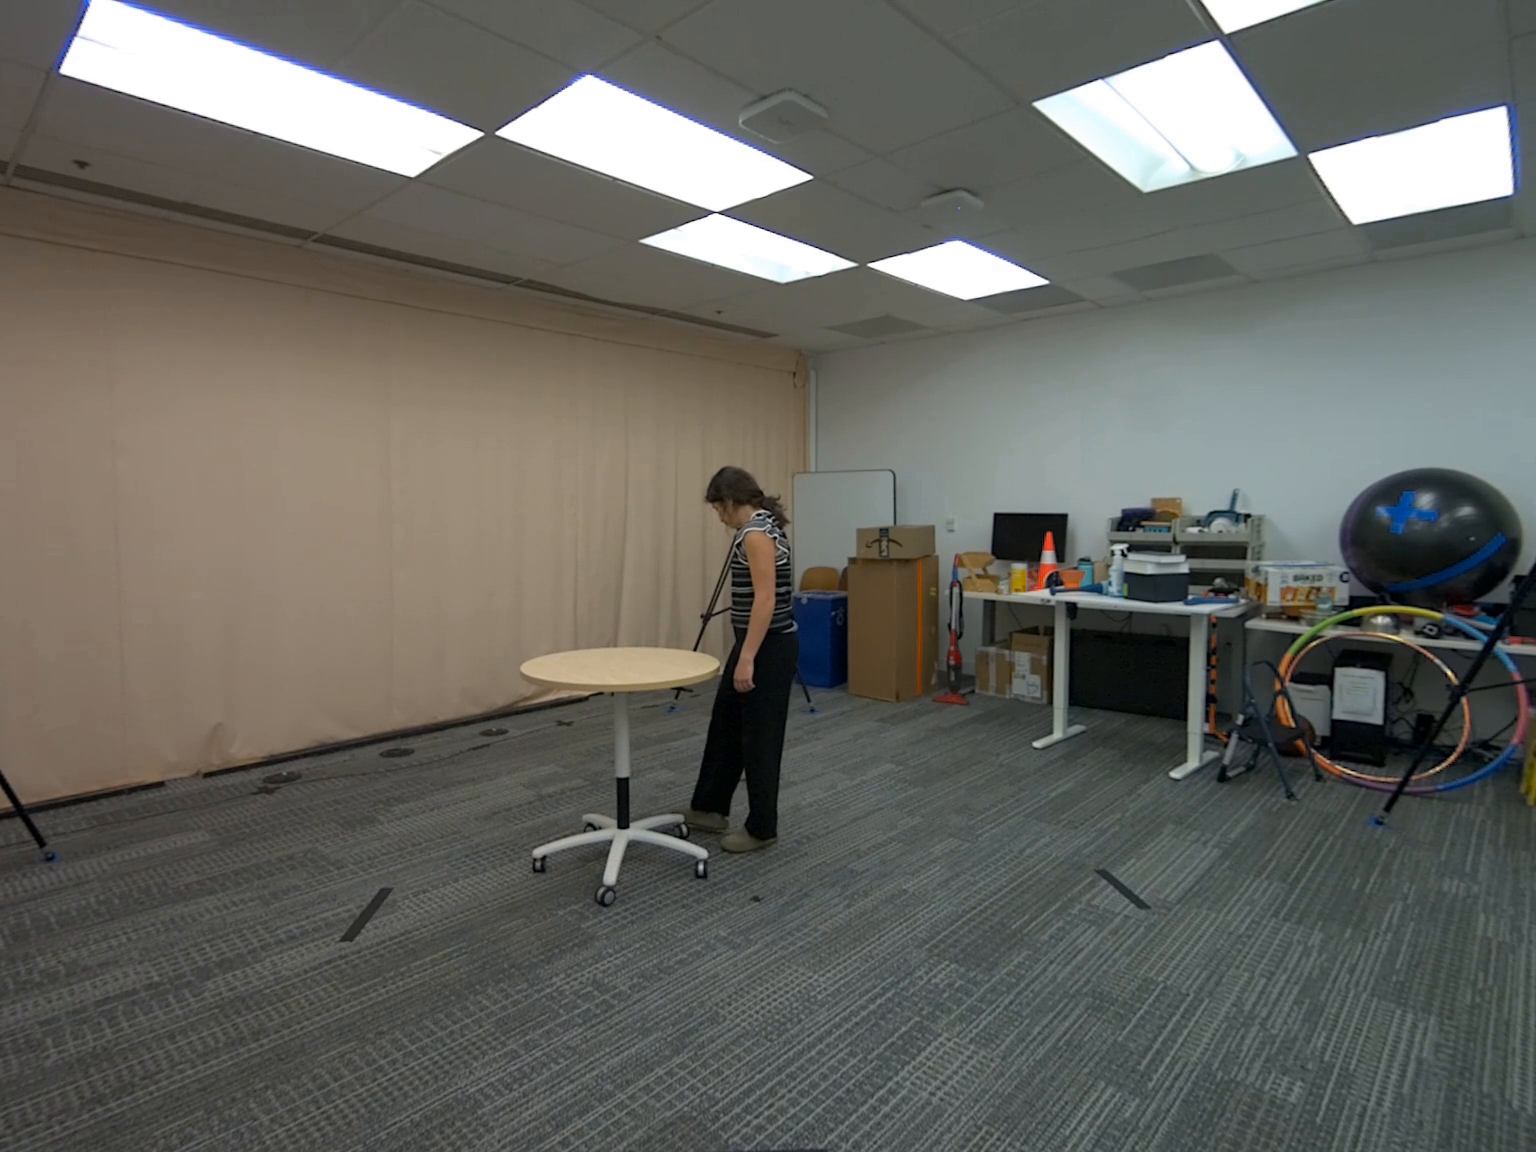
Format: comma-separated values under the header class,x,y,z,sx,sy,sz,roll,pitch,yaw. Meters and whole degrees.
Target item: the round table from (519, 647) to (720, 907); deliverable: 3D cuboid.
class,x,y,z,sx,sy,sz,roll,pitch,yaw
round table,-0.578,0.729,3.275,0.784,0.785,0.788,0,3,-2
